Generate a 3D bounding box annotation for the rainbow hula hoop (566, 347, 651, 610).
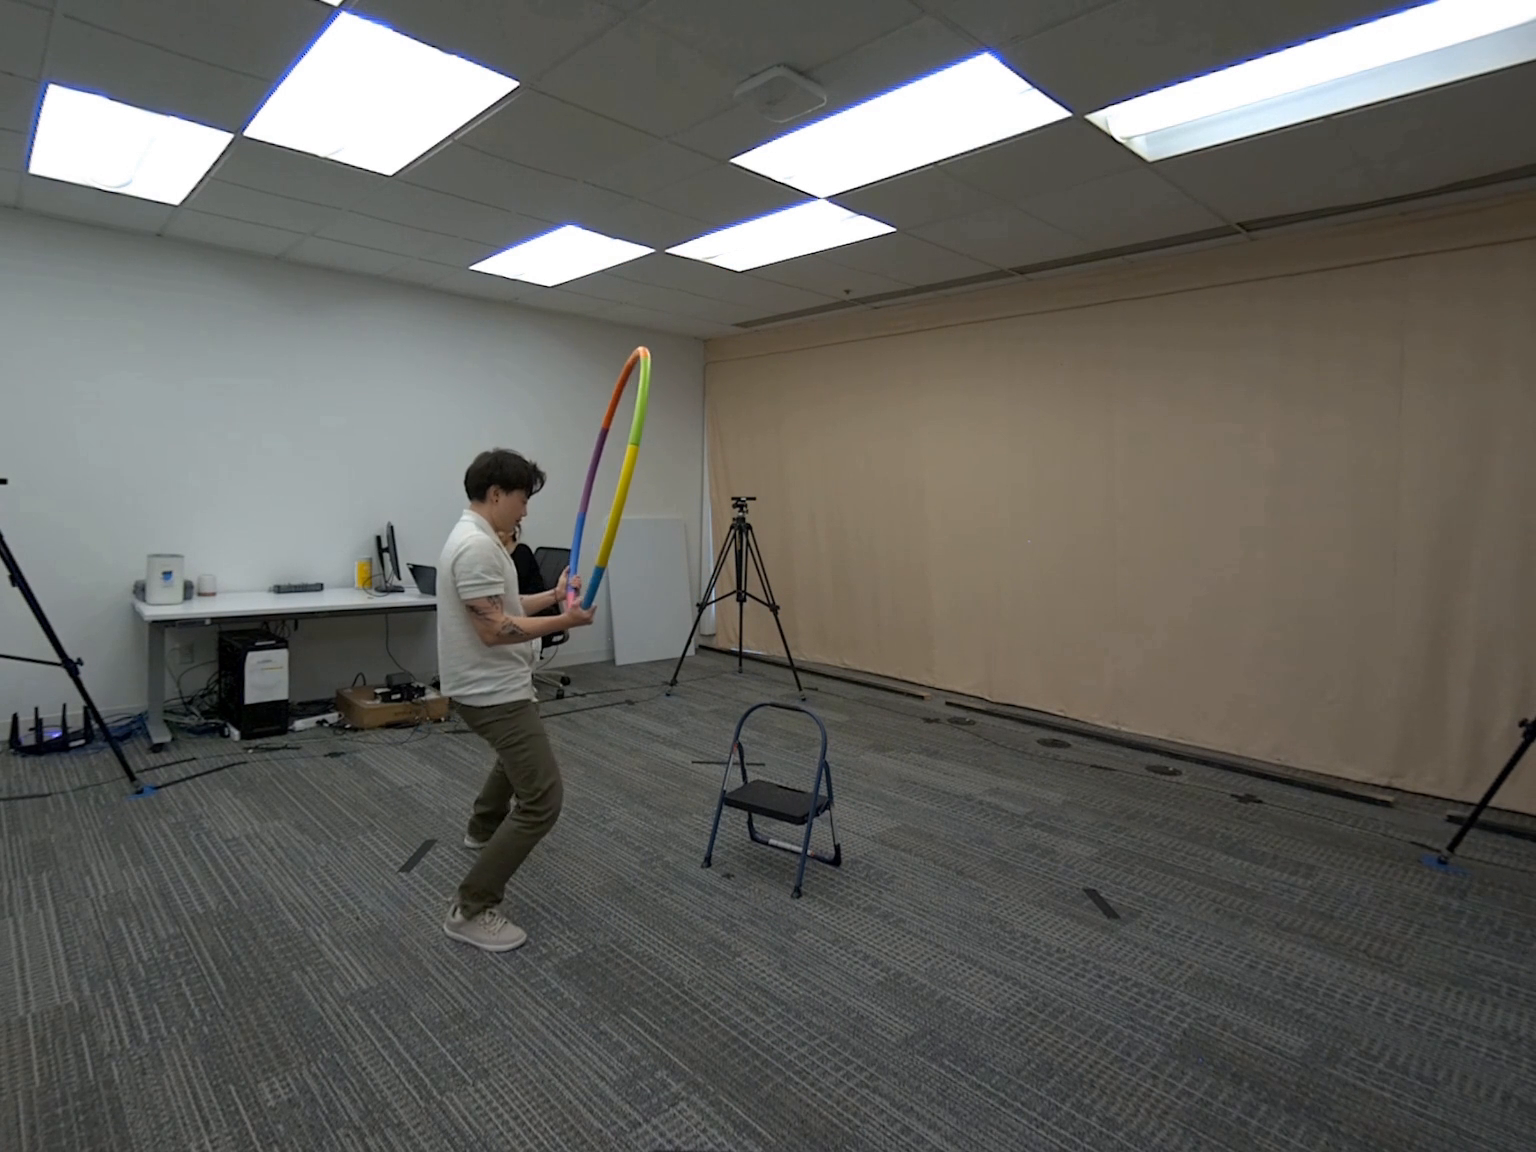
[{"bbox_3d":[-0.578,-0.319,2.913,0.035,0.979,0.994,14,0,-19],"label":"rainbow hula hoop"}]
